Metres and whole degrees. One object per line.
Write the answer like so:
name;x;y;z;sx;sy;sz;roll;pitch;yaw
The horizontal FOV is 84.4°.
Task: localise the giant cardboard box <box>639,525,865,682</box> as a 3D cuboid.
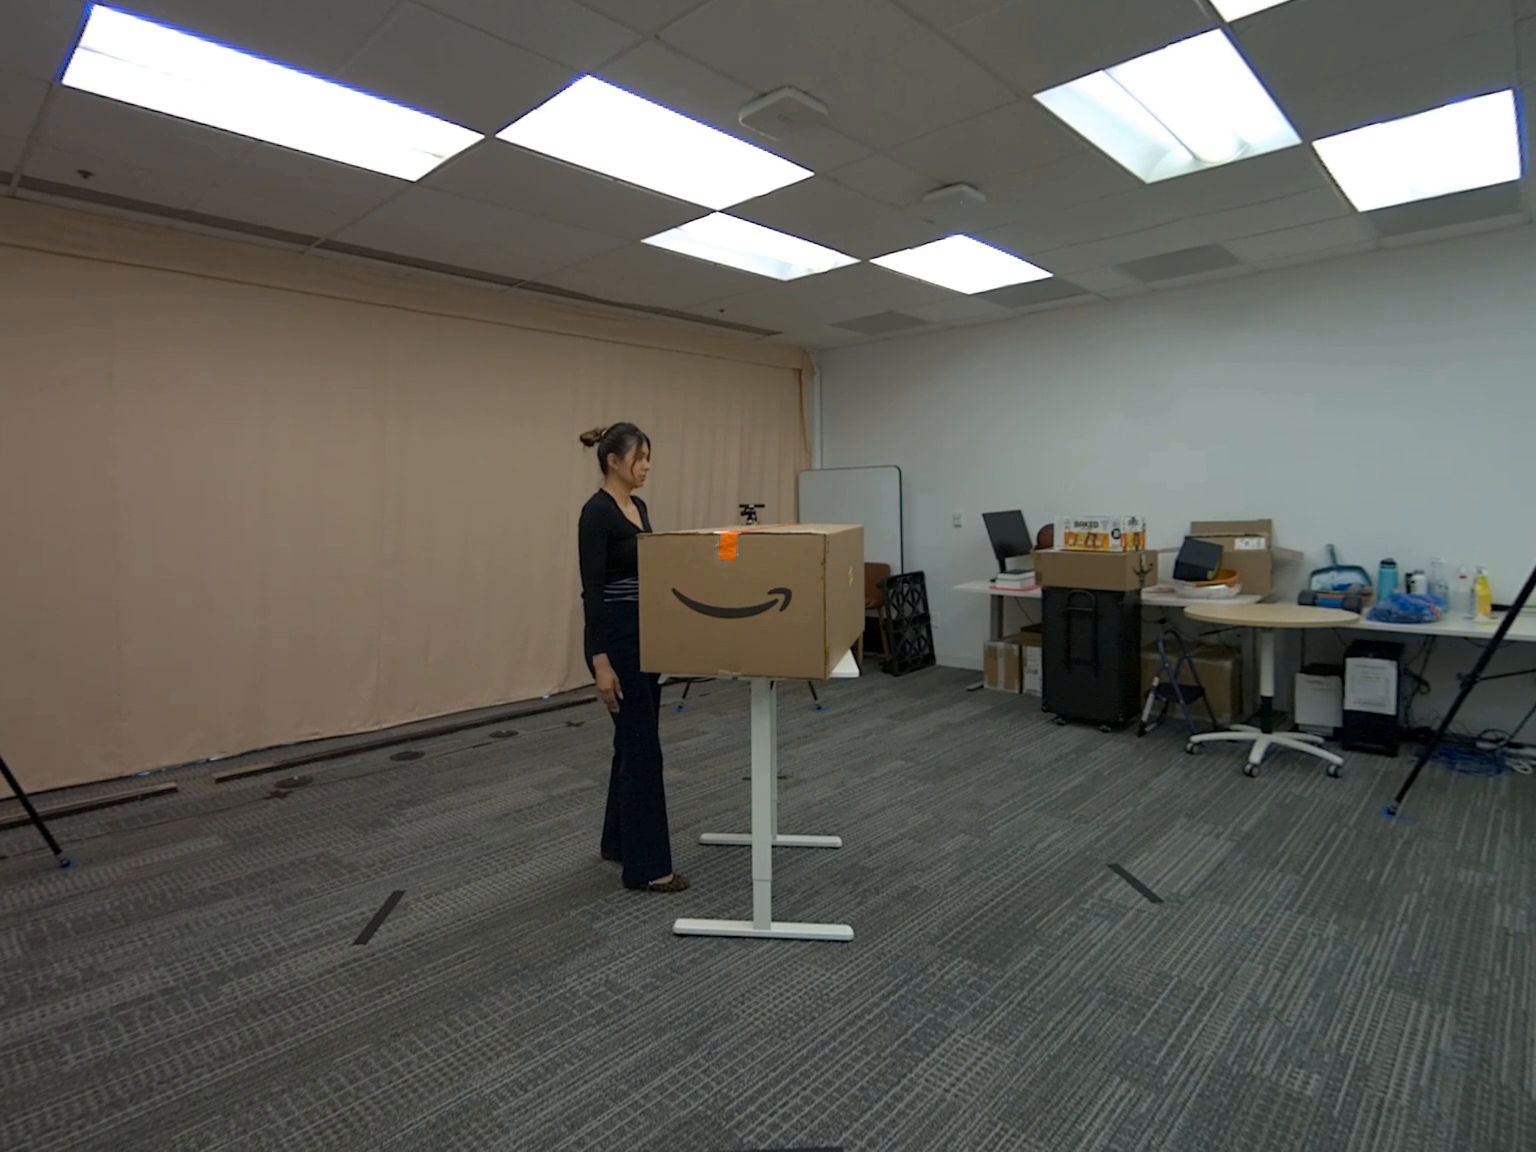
giant cardboard box;0.000;0.044;2.969;0.587;0.425;1.011;0;4;14
